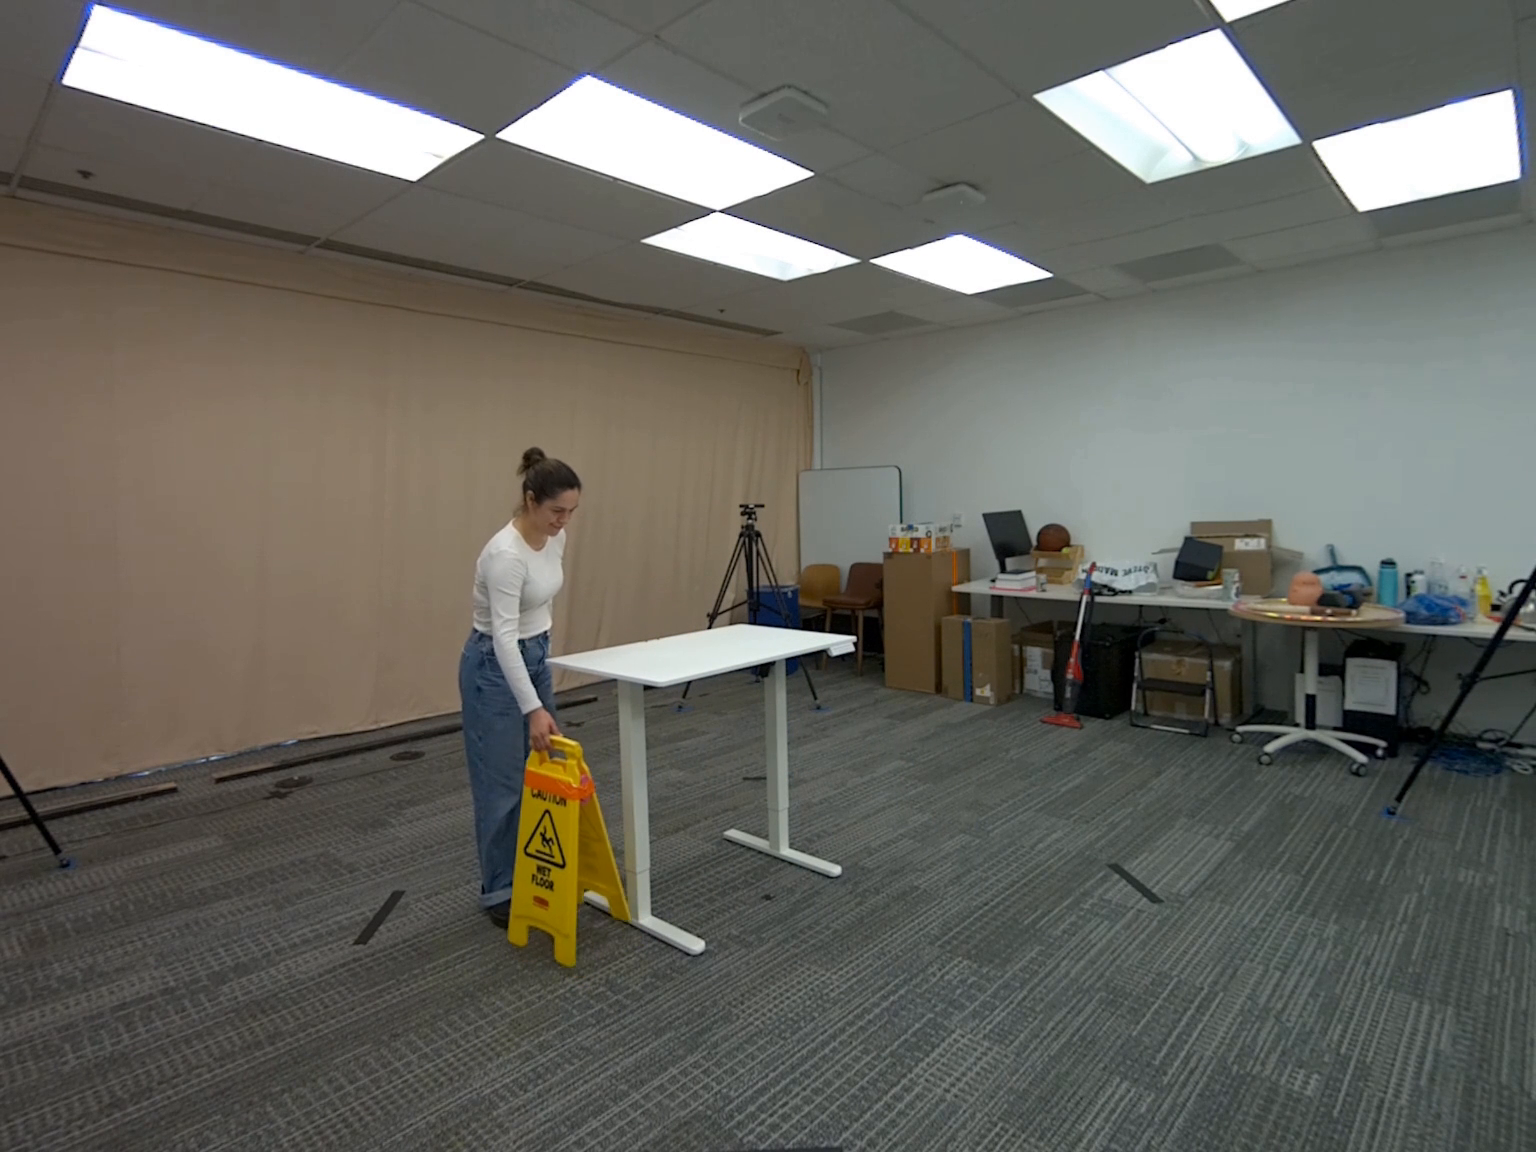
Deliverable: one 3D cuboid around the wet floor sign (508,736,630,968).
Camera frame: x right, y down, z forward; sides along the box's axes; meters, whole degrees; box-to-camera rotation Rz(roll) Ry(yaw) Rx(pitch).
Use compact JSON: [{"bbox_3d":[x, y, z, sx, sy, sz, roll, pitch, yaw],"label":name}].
[{"bbox_3d":[-0.642,0.809,2.618,0.291,0.642,0.283,2,10,33],"label":"wet floor sign"}]
